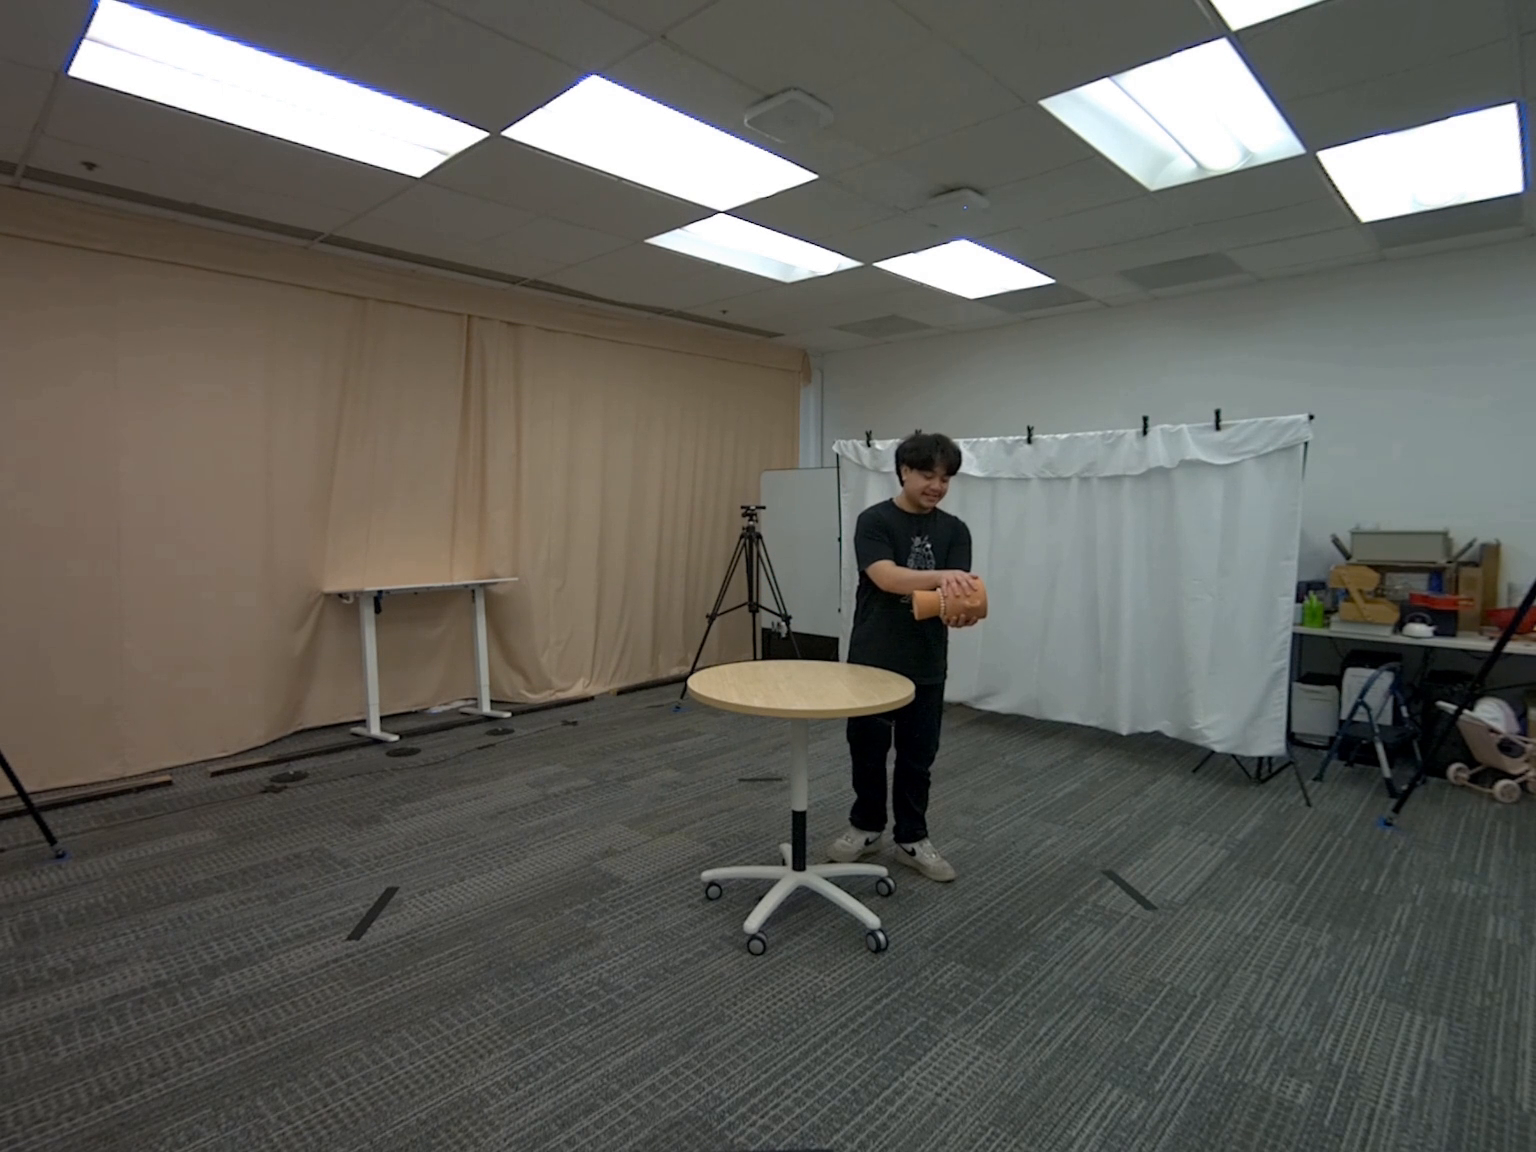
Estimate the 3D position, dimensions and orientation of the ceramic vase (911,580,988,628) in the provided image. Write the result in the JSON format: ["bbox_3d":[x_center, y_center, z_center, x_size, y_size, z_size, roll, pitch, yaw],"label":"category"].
[{"bbox_3d":[0.604,0.084,2.777,0.221,0.137,0.155,-7,-31,4],"label":"ceramic vase"}]
